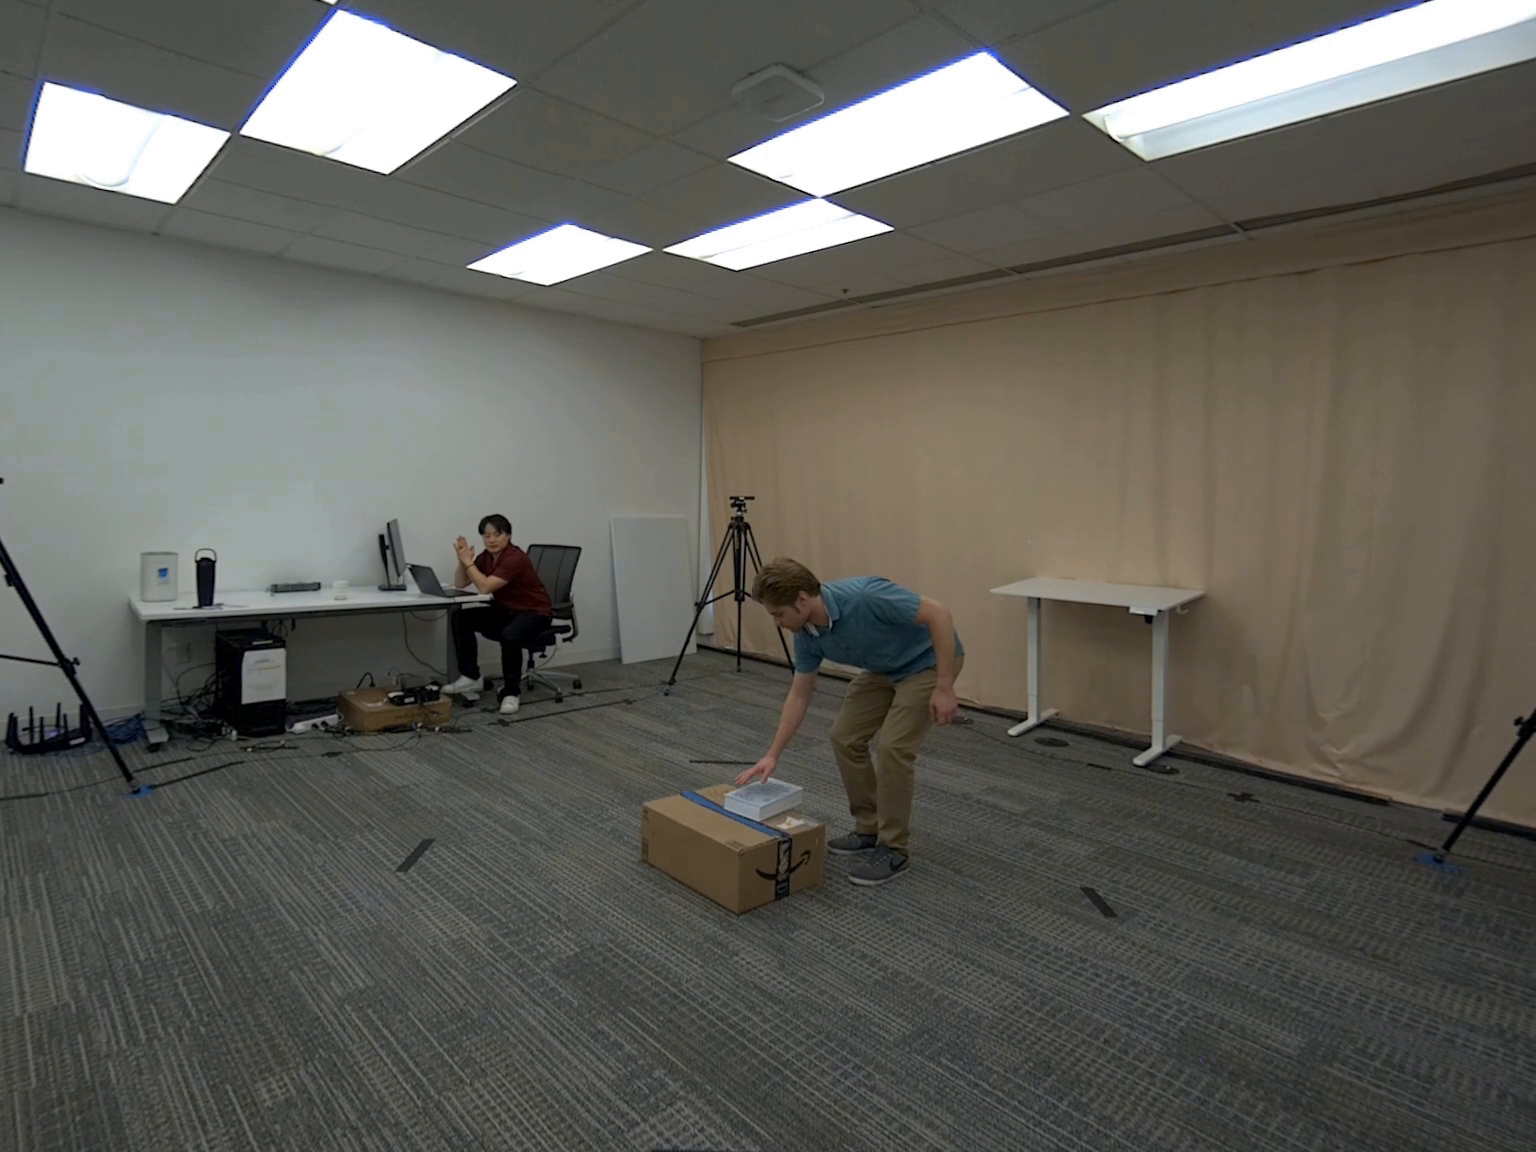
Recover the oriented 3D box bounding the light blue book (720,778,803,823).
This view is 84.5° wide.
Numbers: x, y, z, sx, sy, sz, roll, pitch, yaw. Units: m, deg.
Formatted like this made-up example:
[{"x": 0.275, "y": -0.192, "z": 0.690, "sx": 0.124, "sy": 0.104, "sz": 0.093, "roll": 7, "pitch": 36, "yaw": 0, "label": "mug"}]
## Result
[{"x": -0.022, "y": 0.846, "z": 3.227, "sx": 0.196, "sy": 0.059, "sz": 0.255, "roll": 5, "pitch": 8, "yaw": 41, "label": "light blue book"}]
